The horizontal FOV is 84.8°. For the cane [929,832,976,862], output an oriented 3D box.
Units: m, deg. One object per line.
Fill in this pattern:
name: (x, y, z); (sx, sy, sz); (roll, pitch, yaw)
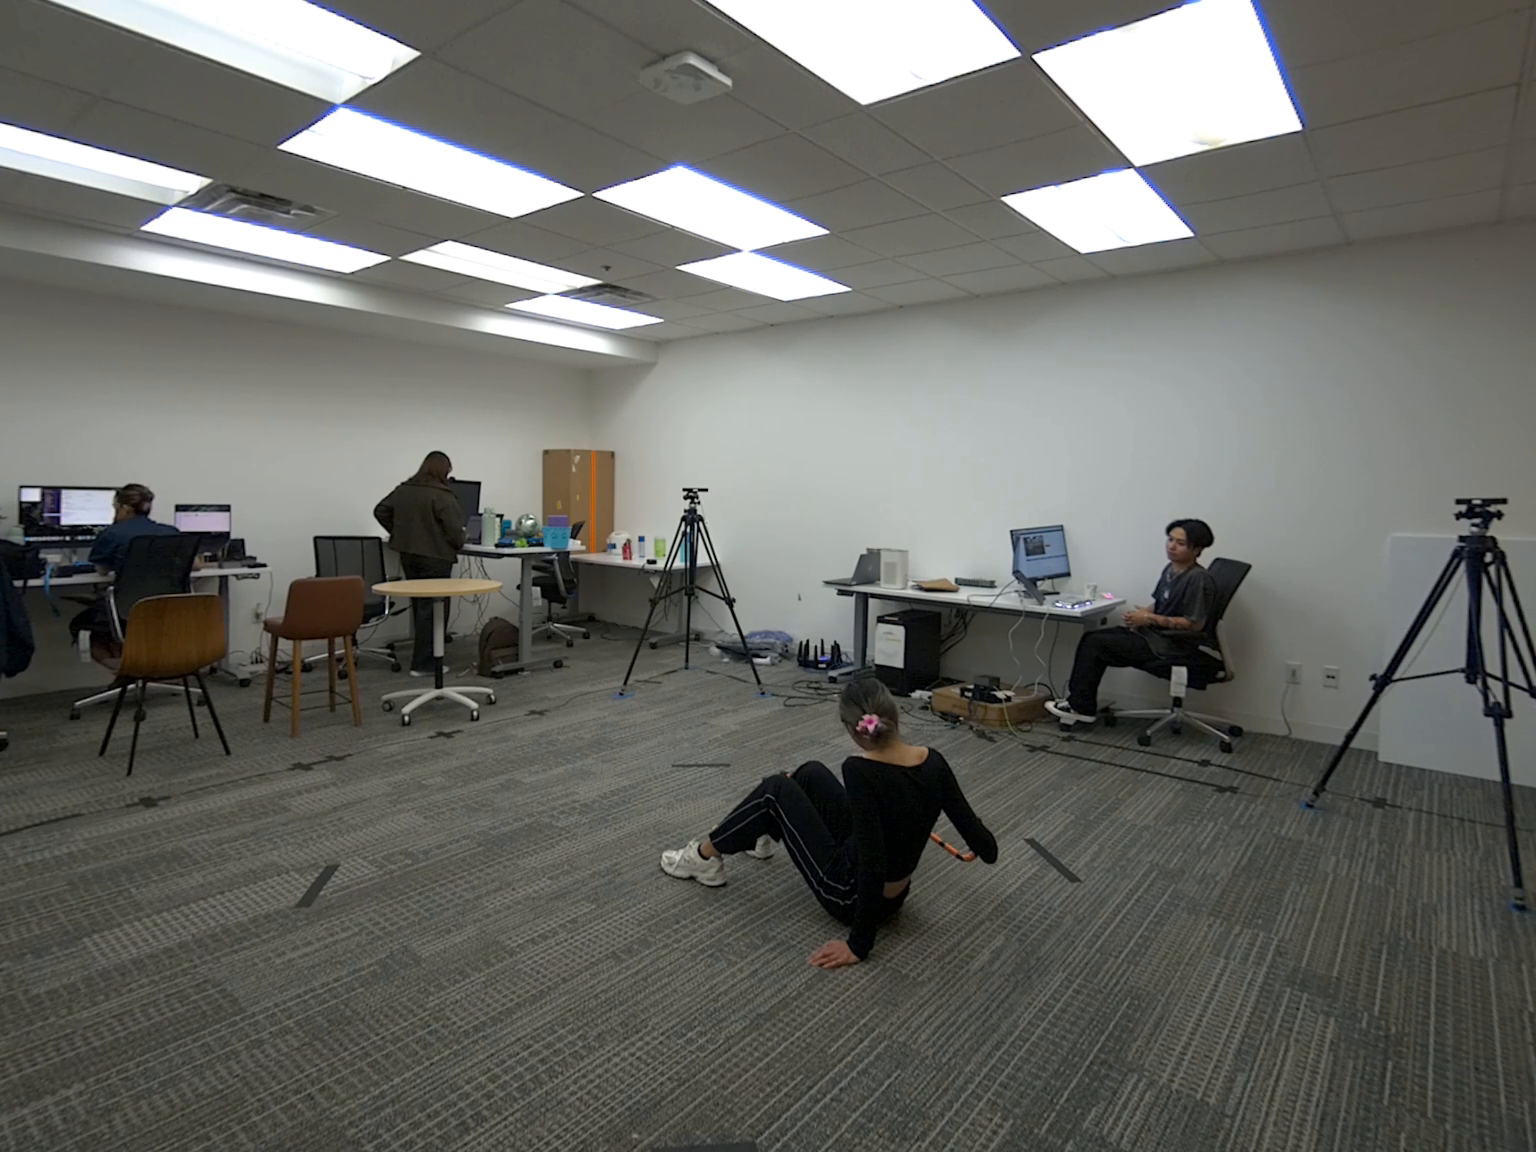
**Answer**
cane: (0.368, 0.922, 3.273); (0.937, 0.206, 0.147); (2, 2, 40)
